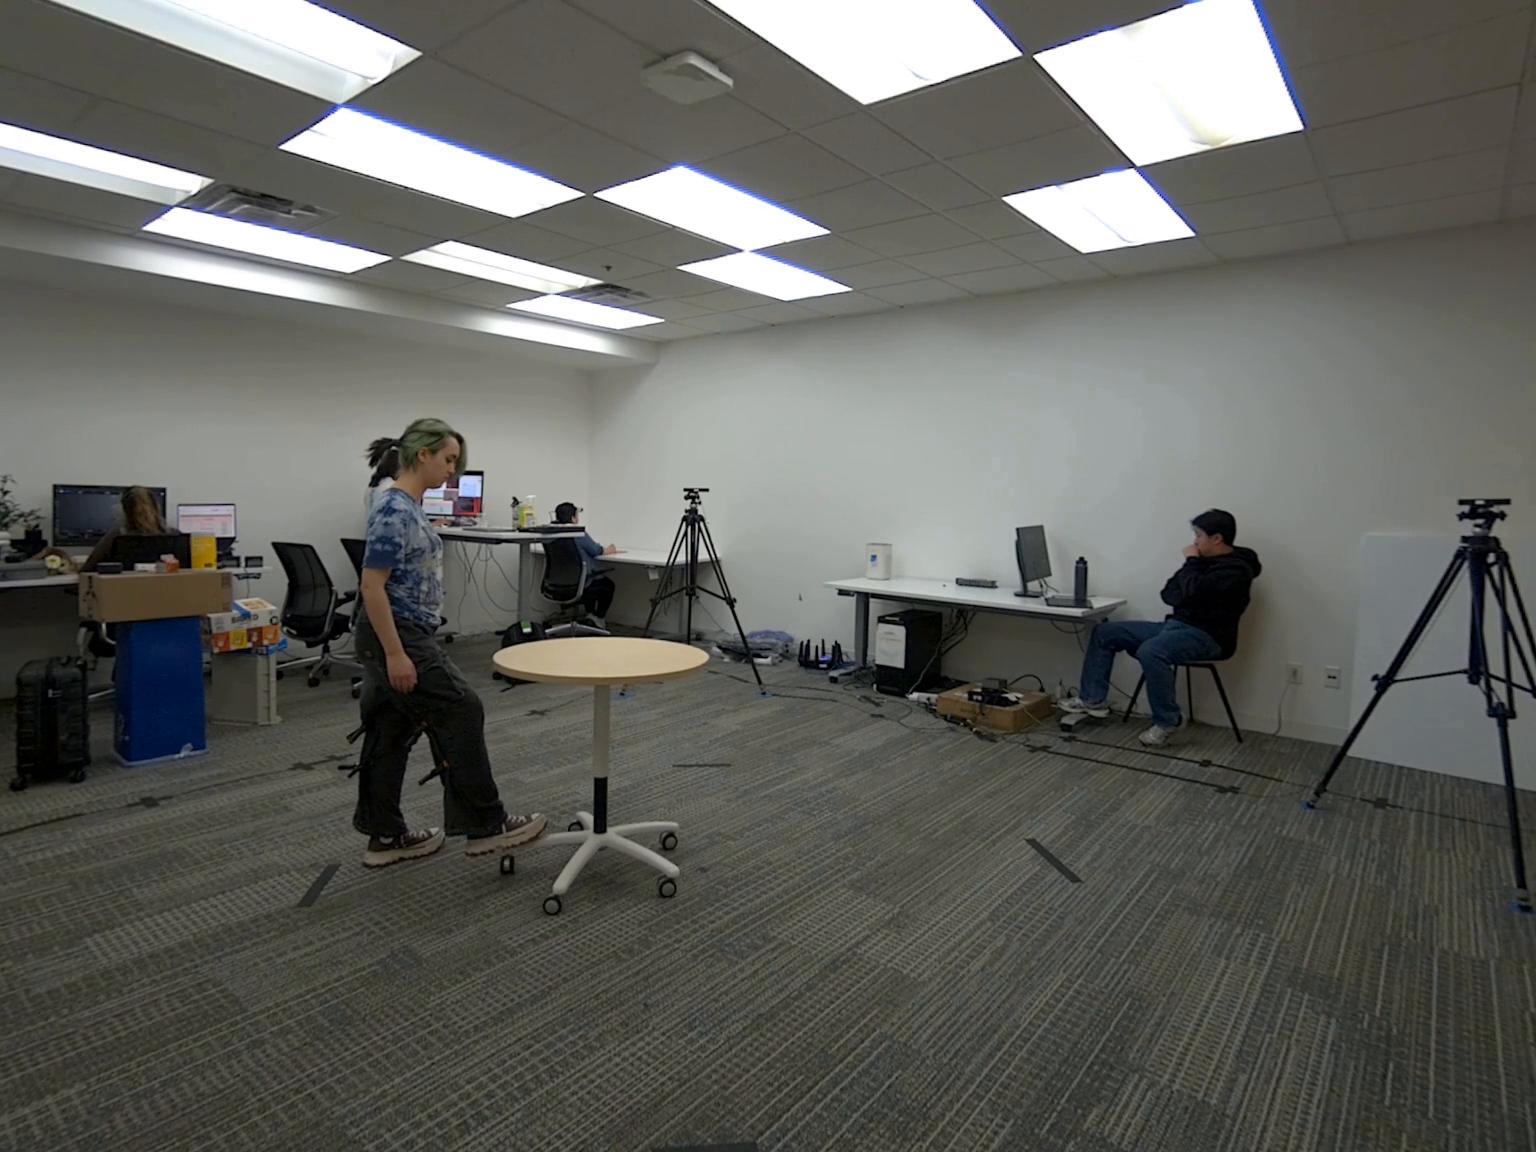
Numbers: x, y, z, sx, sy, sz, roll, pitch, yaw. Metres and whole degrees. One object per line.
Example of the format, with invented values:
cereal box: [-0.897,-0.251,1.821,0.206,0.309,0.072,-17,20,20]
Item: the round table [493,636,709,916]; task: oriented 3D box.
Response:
round table: [-0.614,0.680,3.071,0.763,0.791,0.767,1,4,-2]
